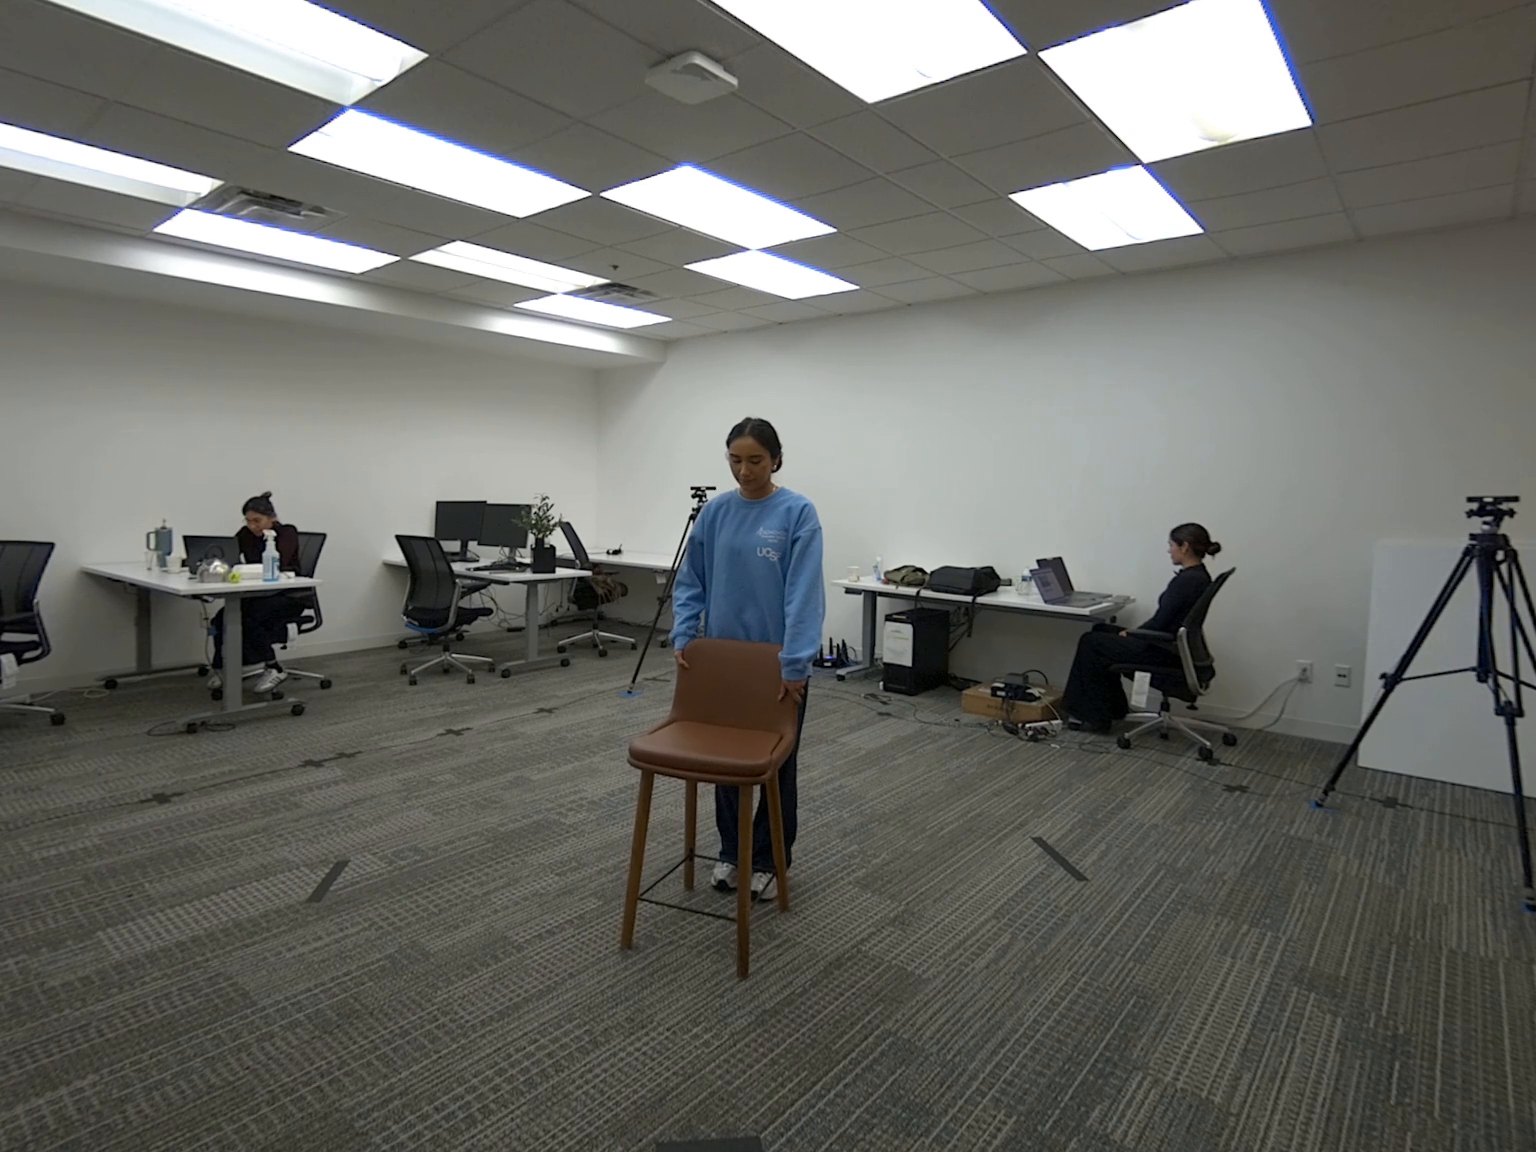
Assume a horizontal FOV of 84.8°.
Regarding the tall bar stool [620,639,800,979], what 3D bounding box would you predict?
[{"bbox_3d":[-0.172,0.672,2.664,0.467,0.889,0.457,2,1,22],"label":"tall bar stool"}]
